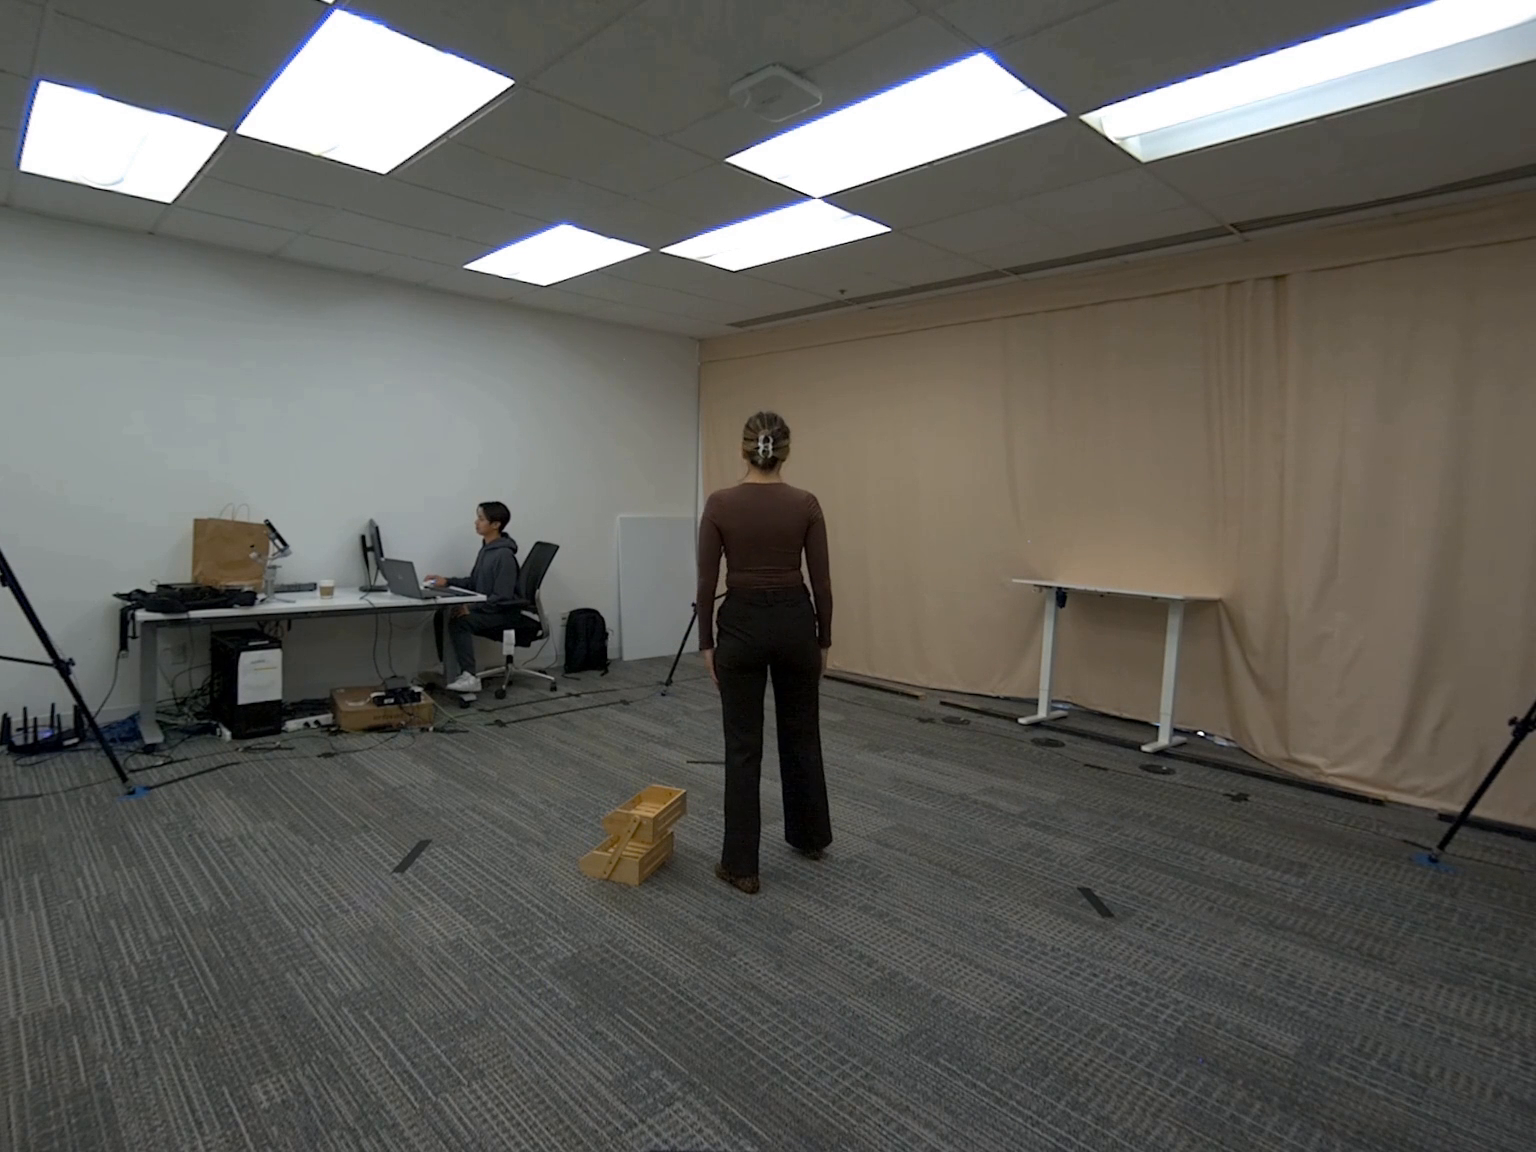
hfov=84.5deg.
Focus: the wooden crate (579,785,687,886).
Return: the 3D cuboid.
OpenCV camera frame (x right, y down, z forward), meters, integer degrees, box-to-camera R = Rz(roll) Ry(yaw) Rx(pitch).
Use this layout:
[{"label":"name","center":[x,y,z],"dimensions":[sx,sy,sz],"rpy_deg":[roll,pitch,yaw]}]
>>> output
[{"label":"wooden crate","center":[-0.513,0.952,3.170],"dimensions":[0.307,0.272,0.320],"rpy_deg":[4,5,18]}]
